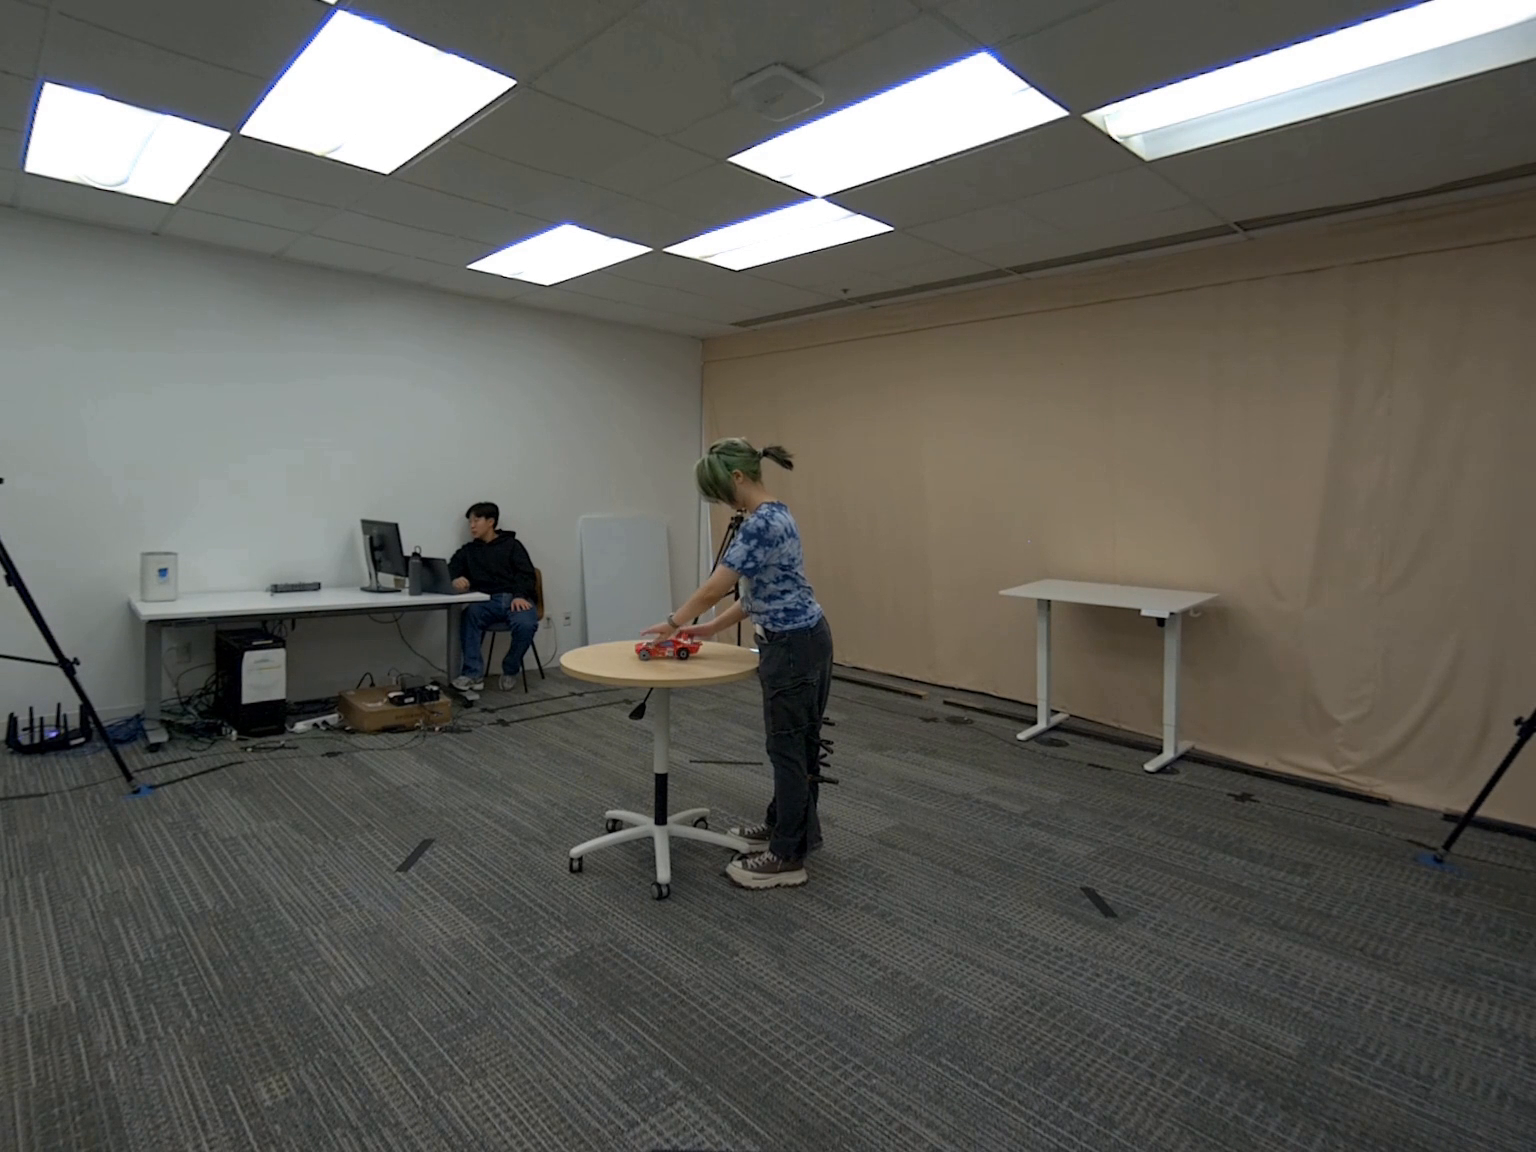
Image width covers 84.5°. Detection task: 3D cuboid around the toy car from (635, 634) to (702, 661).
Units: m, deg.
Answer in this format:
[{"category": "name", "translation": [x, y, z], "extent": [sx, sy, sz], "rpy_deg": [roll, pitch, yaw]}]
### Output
[{"category": "toy car", "translation": [-0.376, 0.275, 3.176], "extent": [0.254, 0.083, 0.131], "rpy_deg": [-12, 6, -4]}]
